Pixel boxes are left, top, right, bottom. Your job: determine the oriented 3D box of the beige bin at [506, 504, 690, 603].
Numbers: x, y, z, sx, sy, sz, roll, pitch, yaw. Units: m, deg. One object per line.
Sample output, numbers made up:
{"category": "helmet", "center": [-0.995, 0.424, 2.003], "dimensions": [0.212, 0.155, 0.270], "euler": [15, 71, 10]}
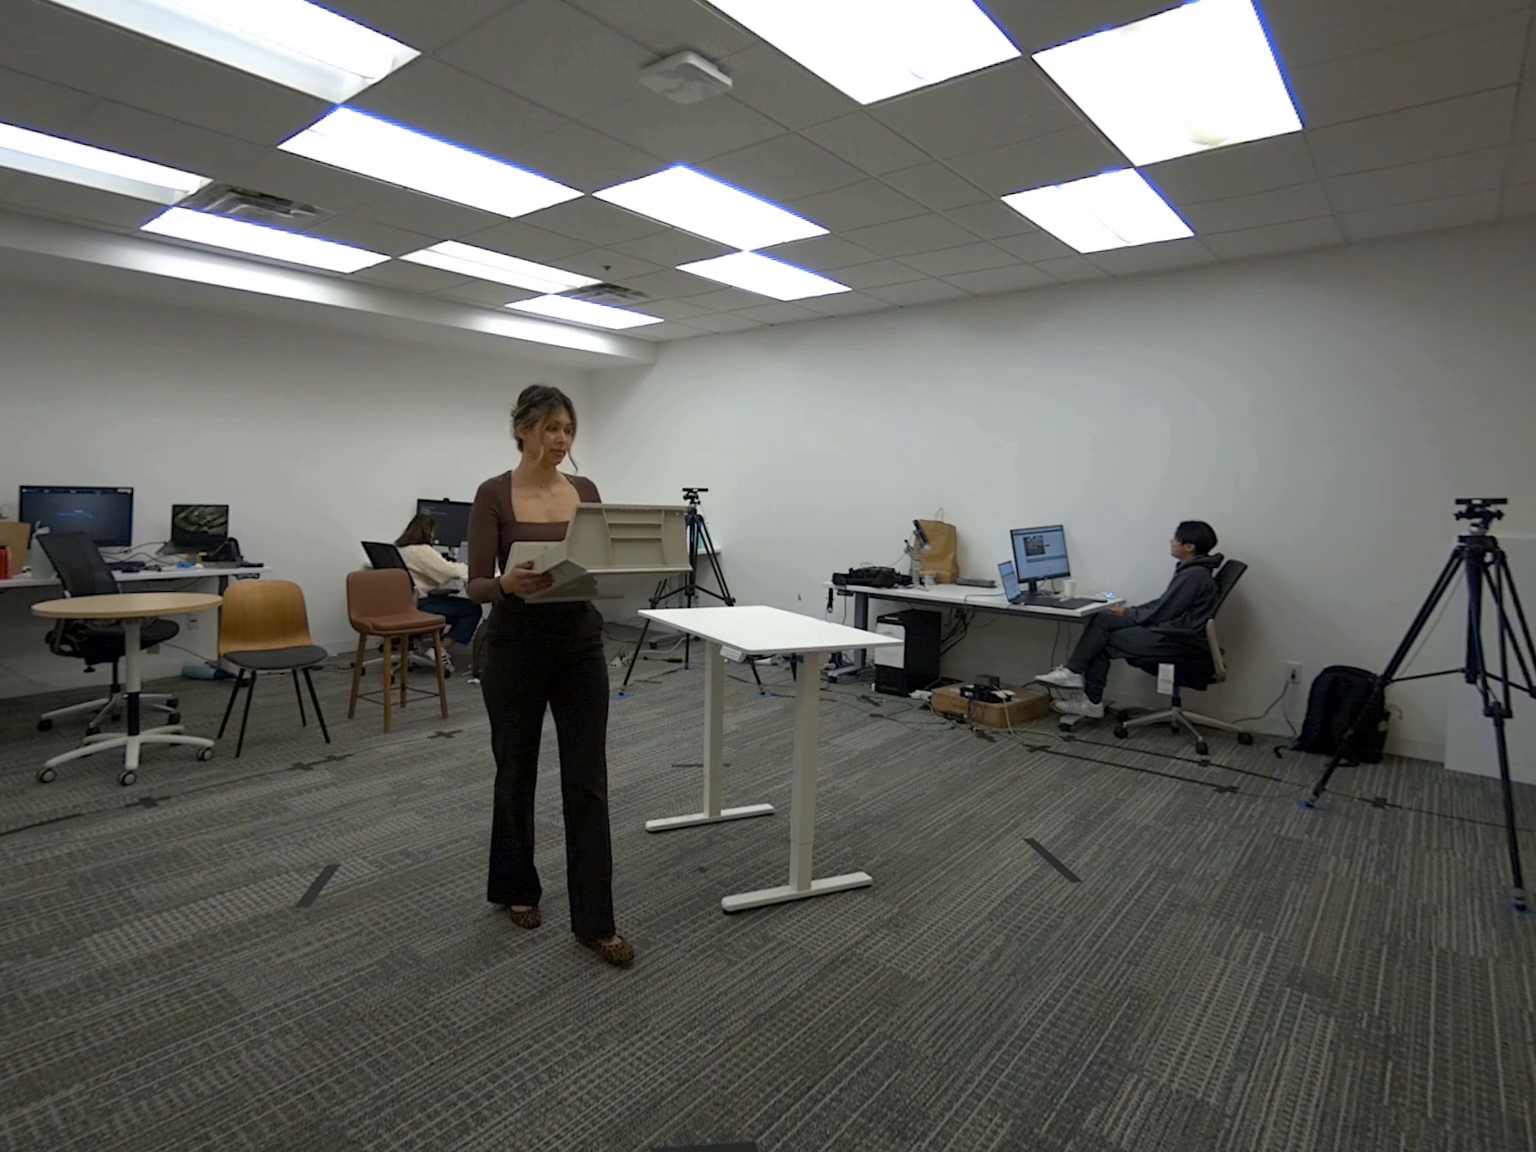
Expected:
{"category": "beige bin", "center": [-0.484, -0.057, 2.347], "dimensions": [0.366, 0.191, 0.430], "euler": [0, -12, -37]}
